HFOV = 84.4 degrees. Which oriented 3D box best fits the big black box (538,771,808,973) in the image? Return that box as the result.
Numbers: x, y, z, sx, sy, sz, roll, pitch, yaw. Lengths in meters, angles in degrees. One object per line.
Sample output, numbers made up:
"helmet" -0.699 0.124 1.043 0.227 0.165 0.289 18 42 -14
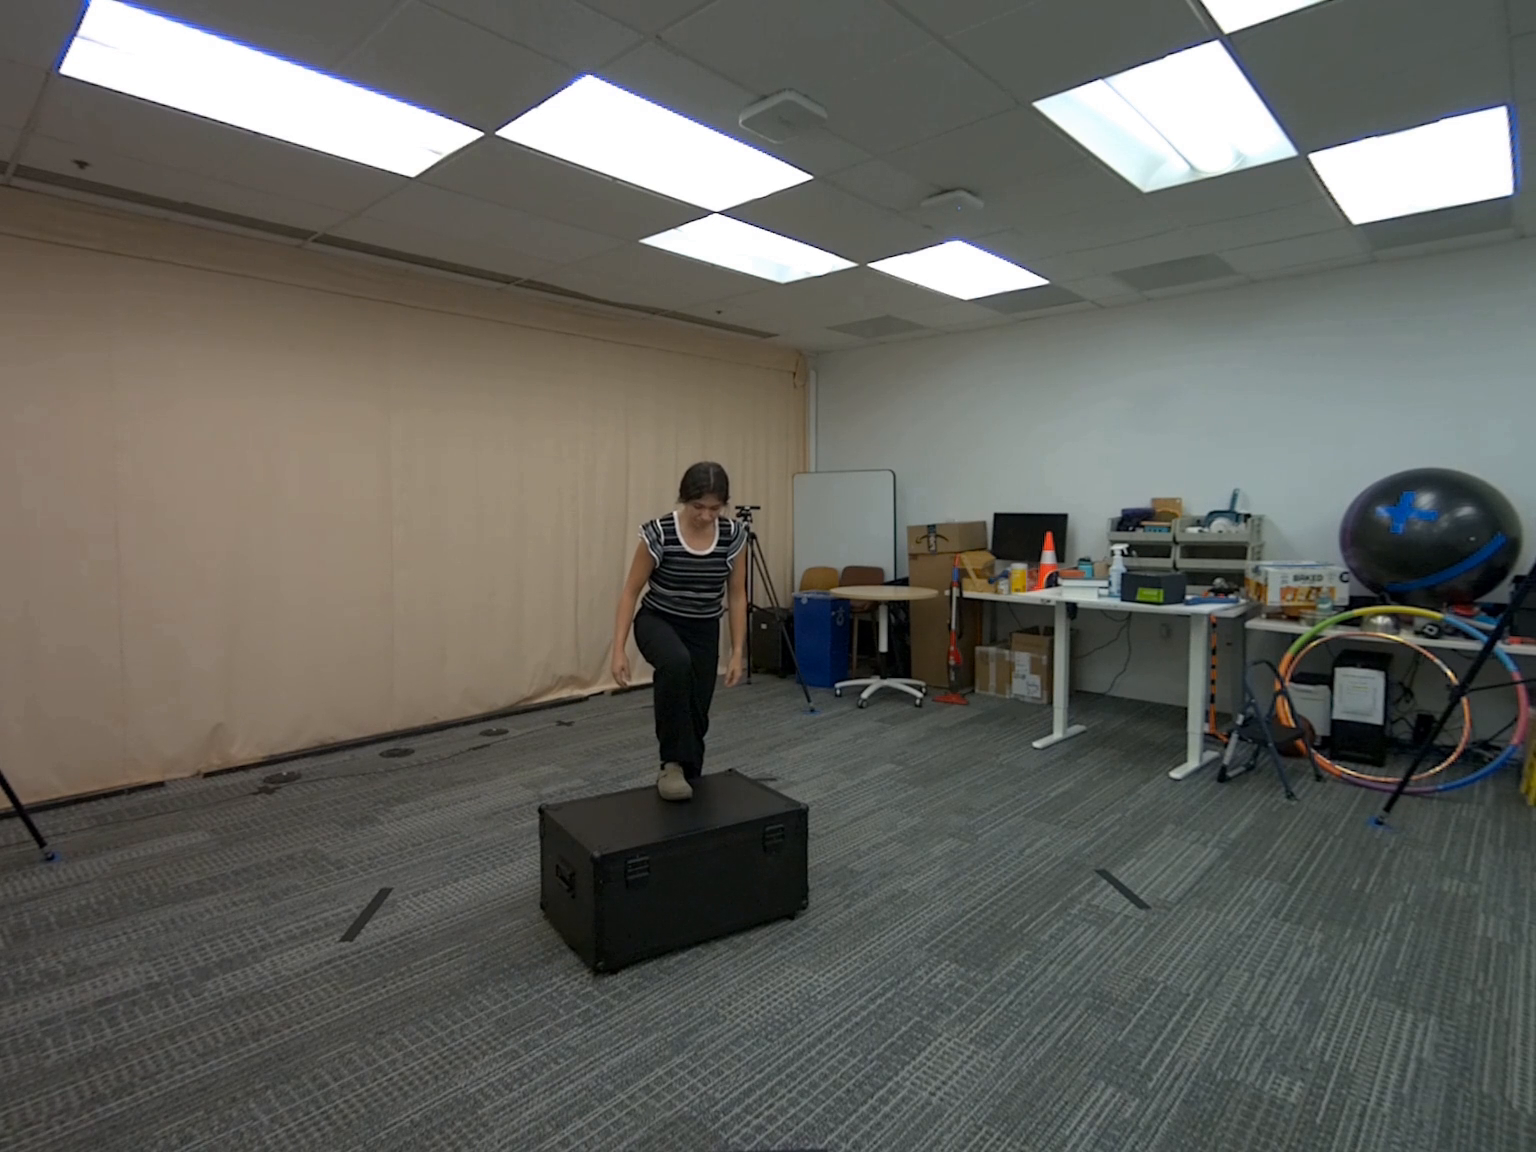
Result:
"big black box" -0.290 0.965 2.873 0.838 0.395 0.537 -3 5 -32
